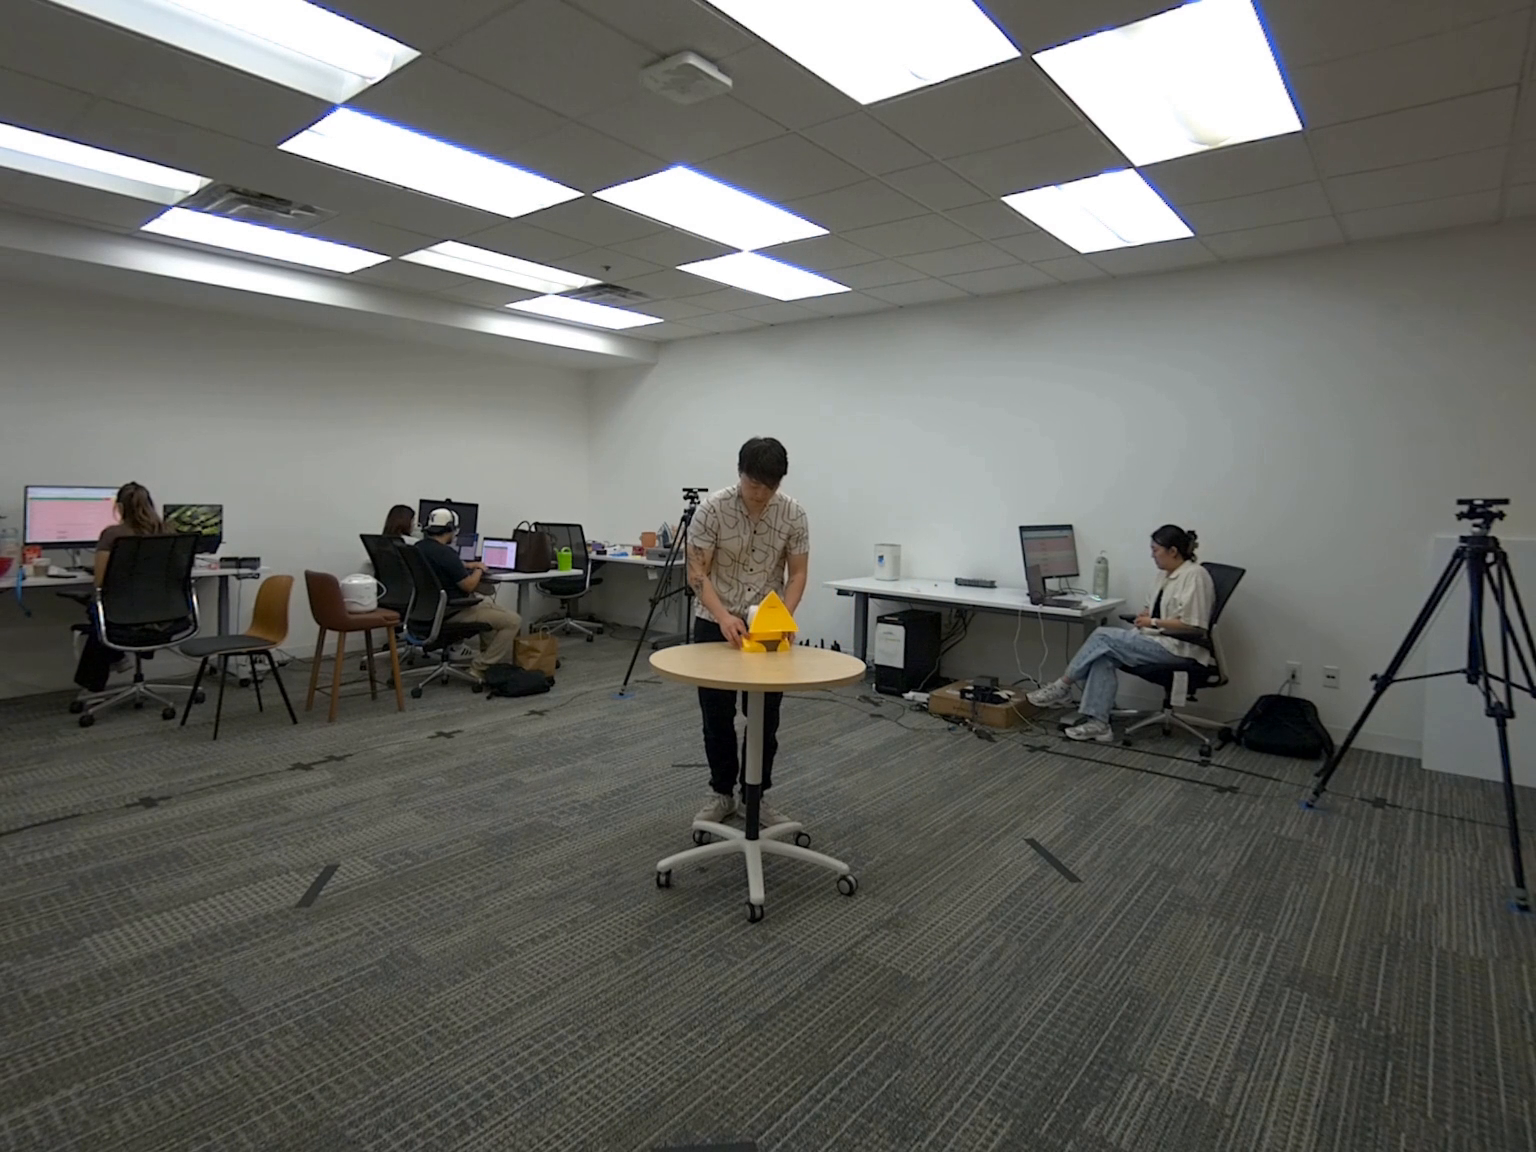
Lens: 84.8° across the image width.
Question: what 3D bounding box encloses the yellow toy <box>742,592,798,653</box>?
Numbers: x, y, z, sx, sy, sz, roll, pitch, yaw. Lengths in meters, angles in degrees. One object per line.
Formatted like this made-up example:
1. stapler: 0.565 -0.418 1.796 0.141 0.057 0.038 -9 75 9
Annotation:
1. yellow toy: -0.022 0.161 3.274 0.200 0.230 0.198 0 3 -24
